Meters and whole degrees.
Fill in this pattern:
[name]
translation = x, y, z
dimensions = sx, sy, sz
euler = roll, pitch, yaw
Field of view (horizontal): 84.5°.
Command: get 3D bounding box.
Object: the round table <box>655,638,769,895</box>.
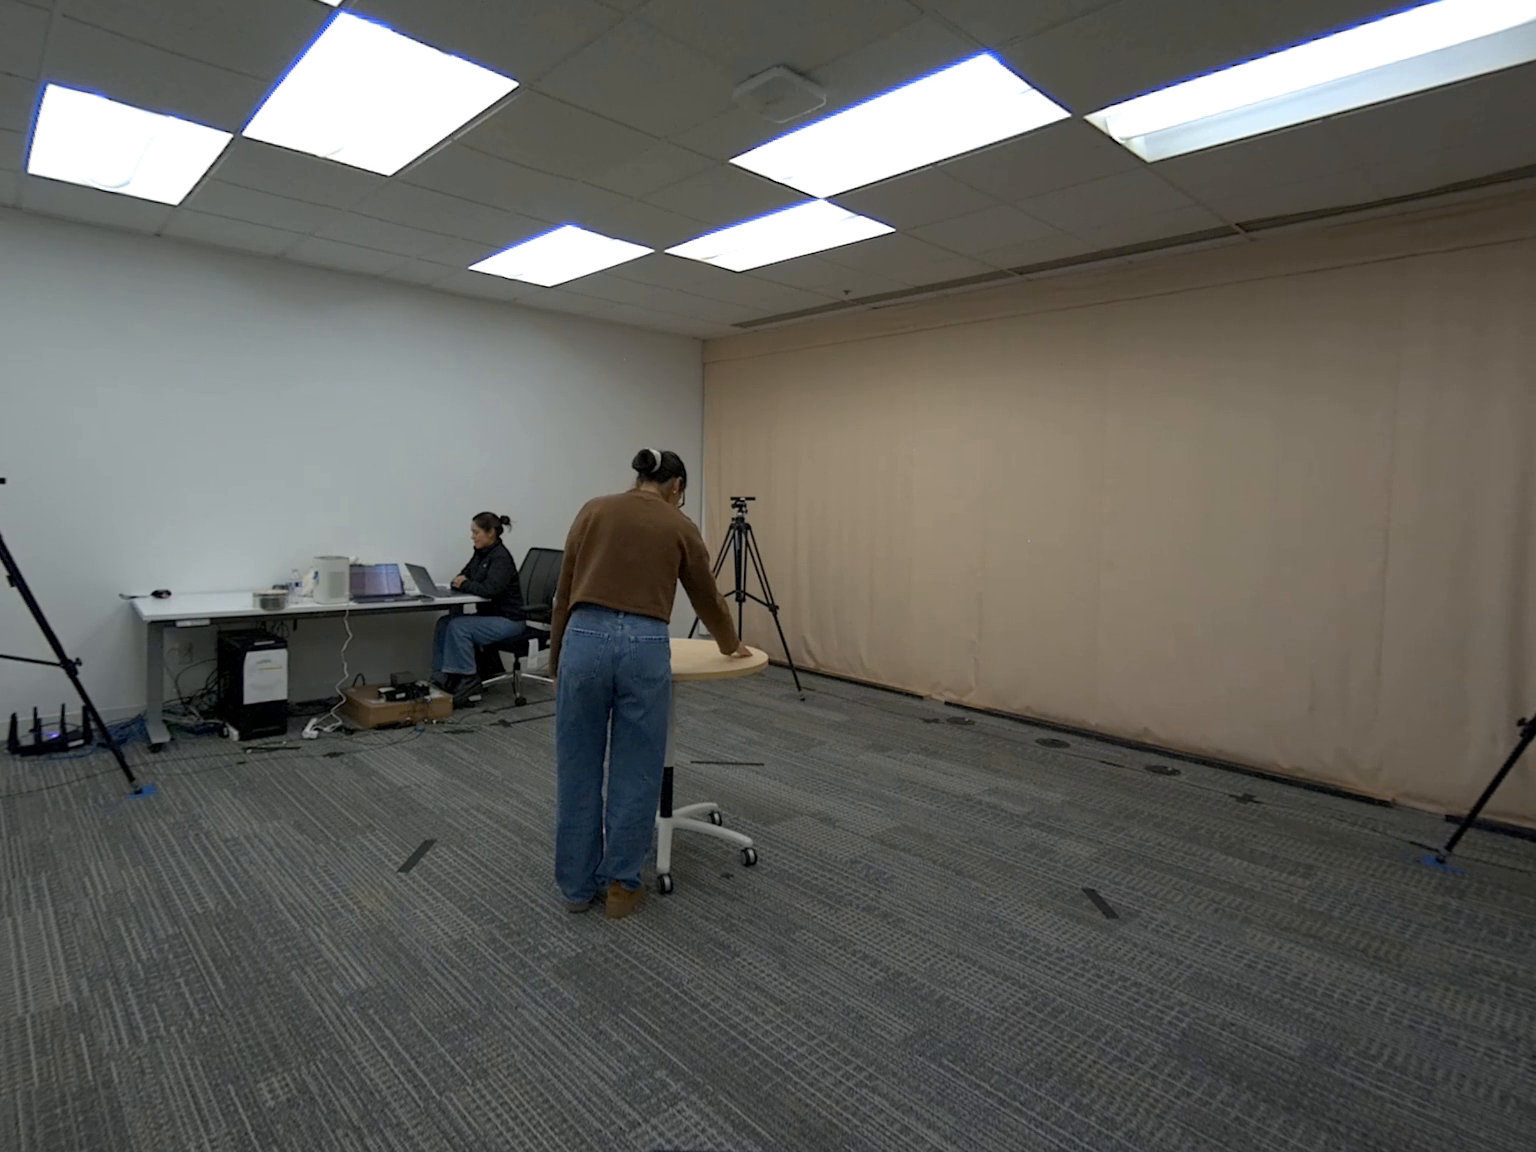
[round table]
translation = -0.399, 0.698, 3.296
dimensions = 0.763, 0.792, 0.766
euler = 1, 4, -1
